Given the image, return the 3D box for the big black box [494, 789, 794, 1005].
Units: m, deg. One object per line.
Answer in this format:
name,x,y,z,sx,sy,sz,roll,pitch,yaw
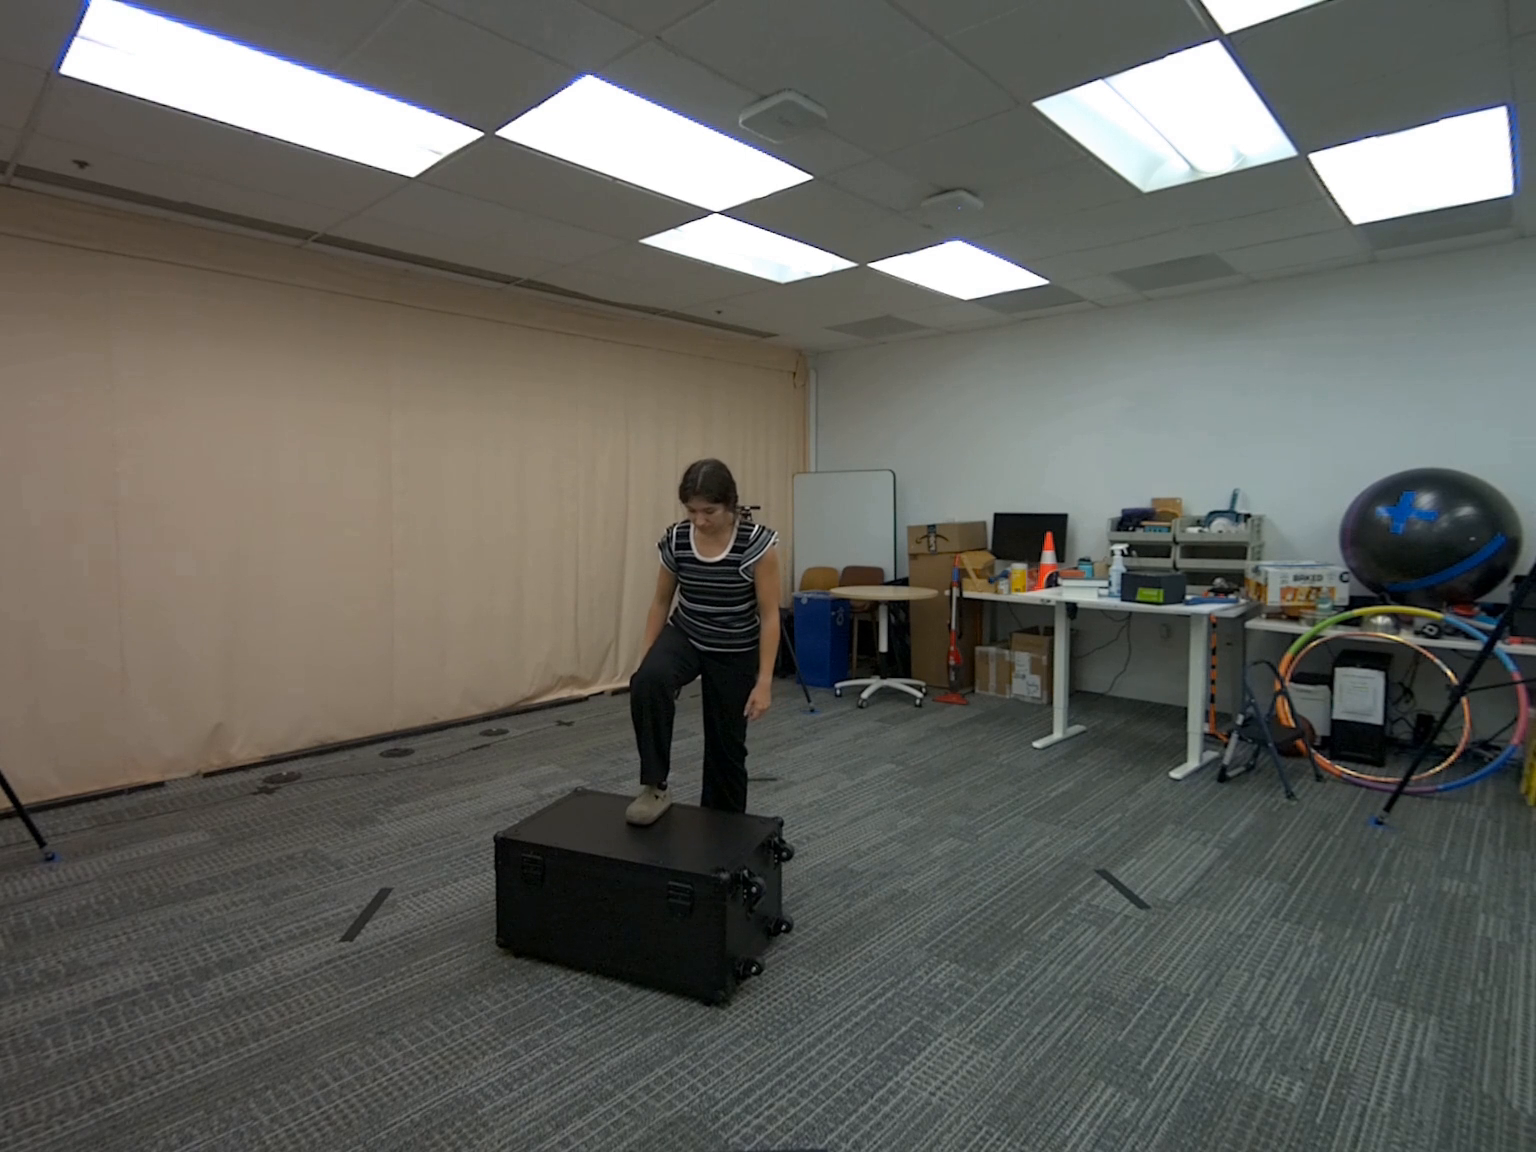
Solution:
big black box,-0.367,0.983,2.664,0.882,0.395,0.510,1,3,22
